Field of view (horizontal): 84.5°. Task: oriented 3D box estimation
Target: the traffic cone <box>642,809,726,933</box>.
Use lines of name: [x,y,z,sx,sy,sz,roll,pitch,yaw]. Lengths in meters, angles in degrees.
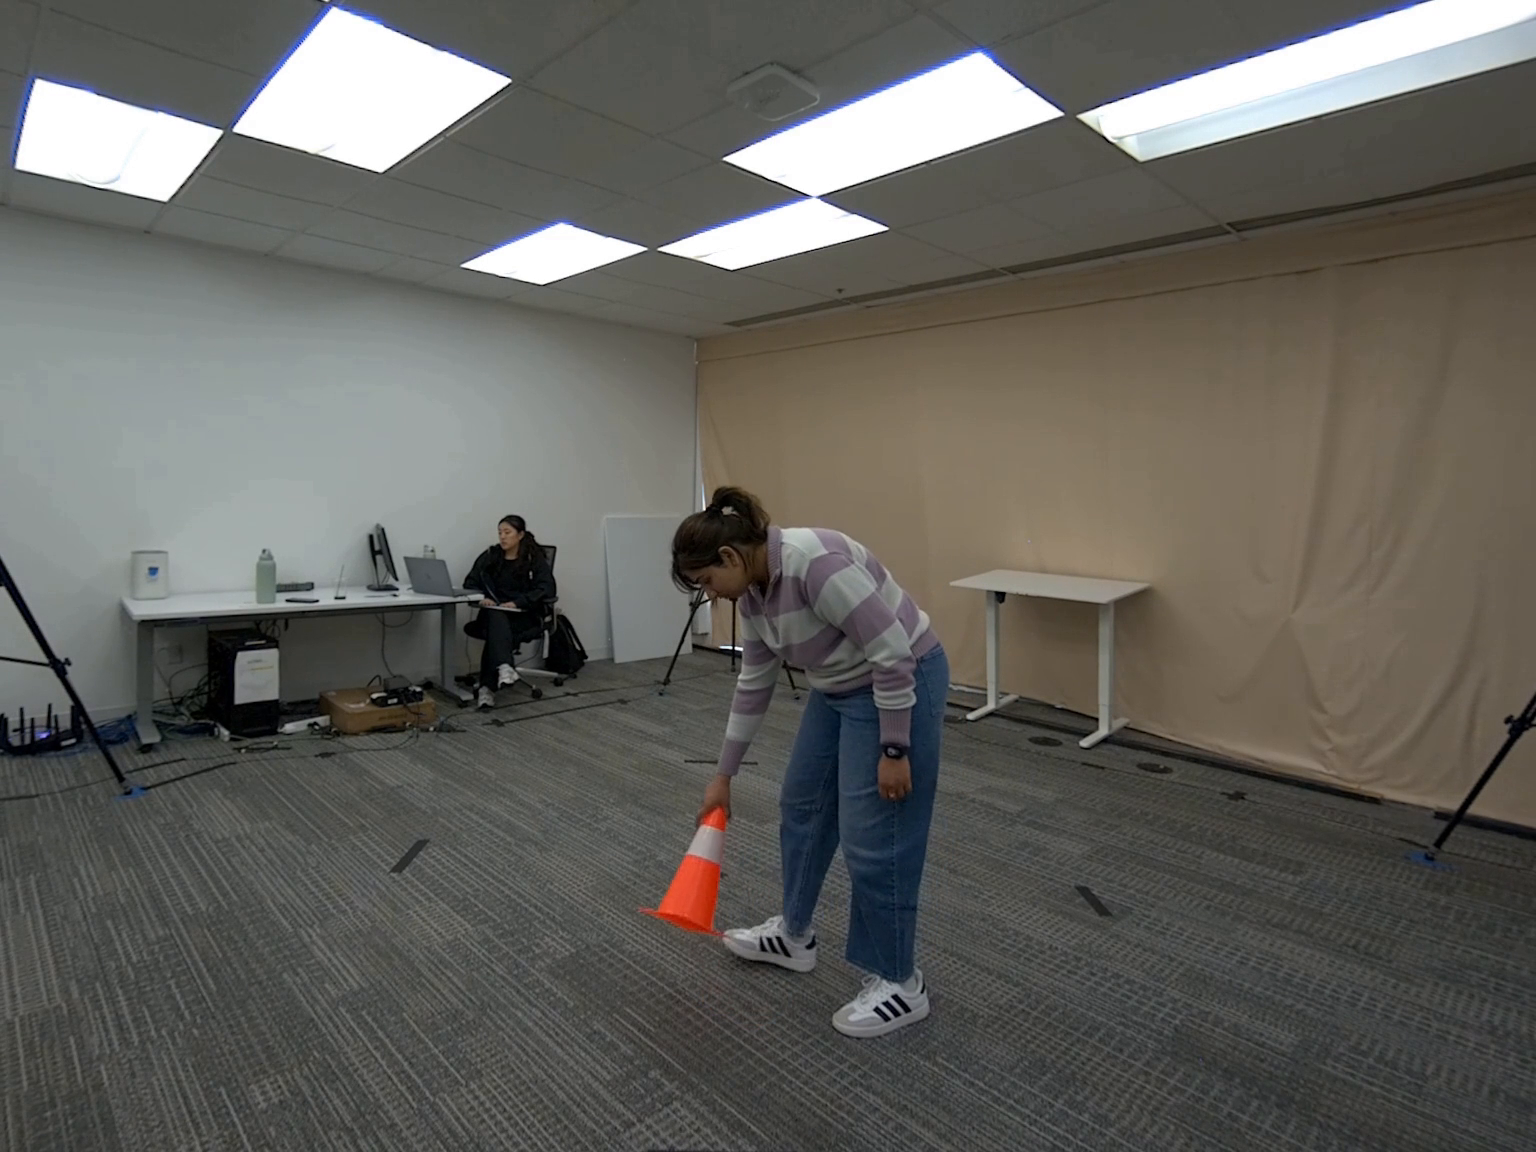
traffic cone: [-0.168,0.789,2.369,0.199,0.387,0.207,39,-31,-31]
